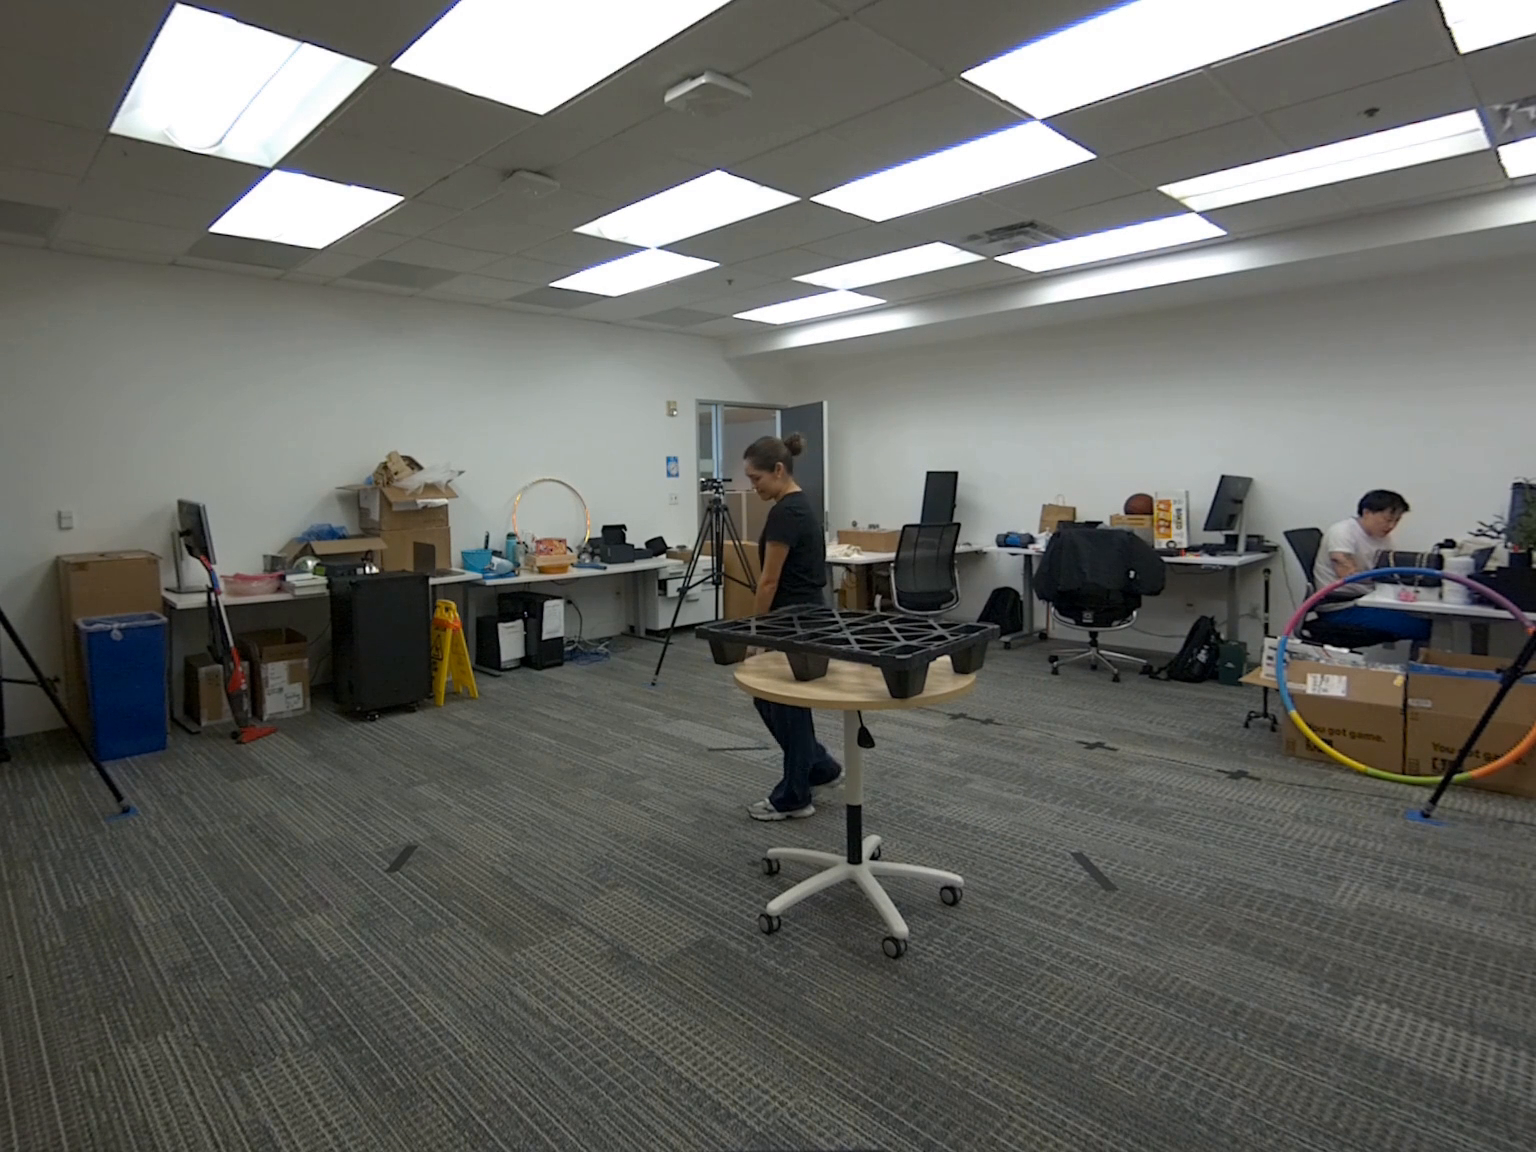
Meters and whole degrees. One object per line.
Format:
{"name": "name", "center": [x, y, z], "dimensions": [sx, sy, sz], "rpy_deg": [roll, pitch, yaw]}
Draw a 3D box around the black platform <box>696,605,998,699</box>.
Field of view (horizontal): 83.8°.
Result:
{"name": "black platform", "center": [0.251, 0.231, 2.787], "dimensions": [0.830, 0.142, 0.590], "rpy_deg": [4, 9, 41]}
